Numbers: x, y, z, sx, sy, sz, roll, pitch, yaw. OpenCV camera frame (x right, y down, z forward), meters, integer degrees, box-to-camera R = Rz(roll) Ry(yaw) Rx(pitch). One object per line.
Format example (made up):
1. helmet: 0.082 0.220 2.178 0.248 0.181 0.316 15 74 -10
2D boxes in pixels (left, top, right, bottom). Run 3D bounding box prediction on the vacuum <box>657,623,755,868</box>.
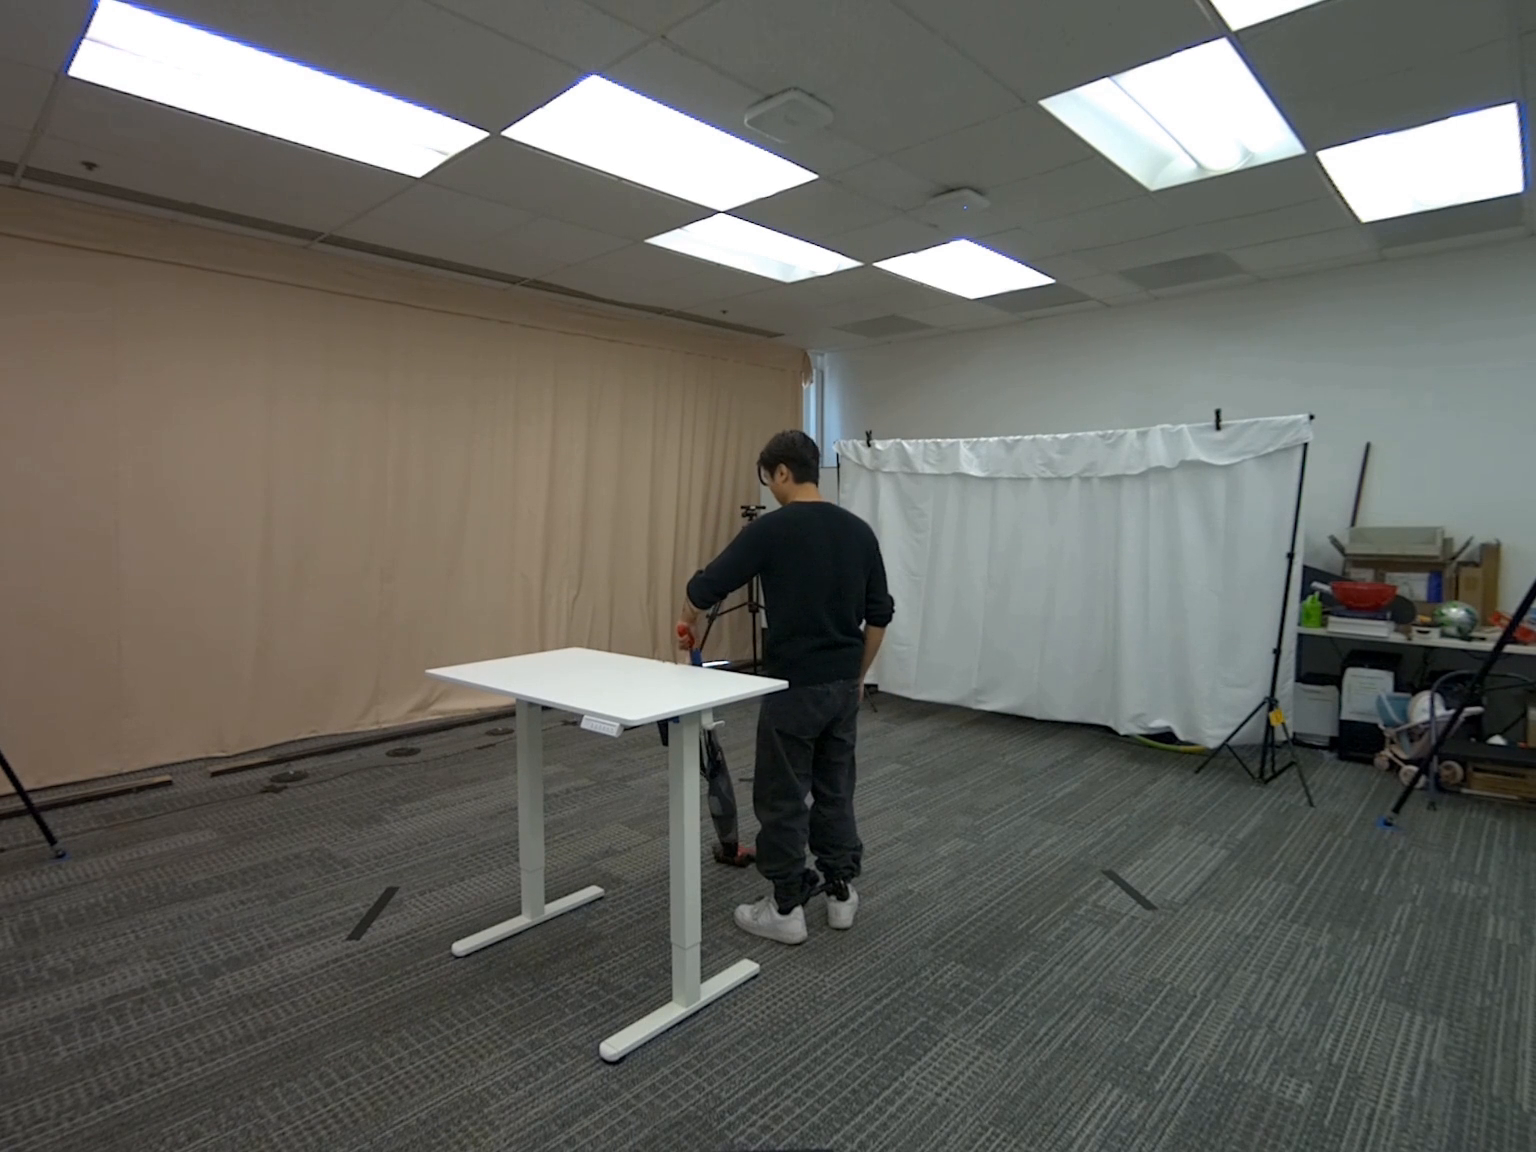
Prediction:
1. vacuum: -0.205 0.652 3.121 0.258 1.030 0.143 0 26 23
